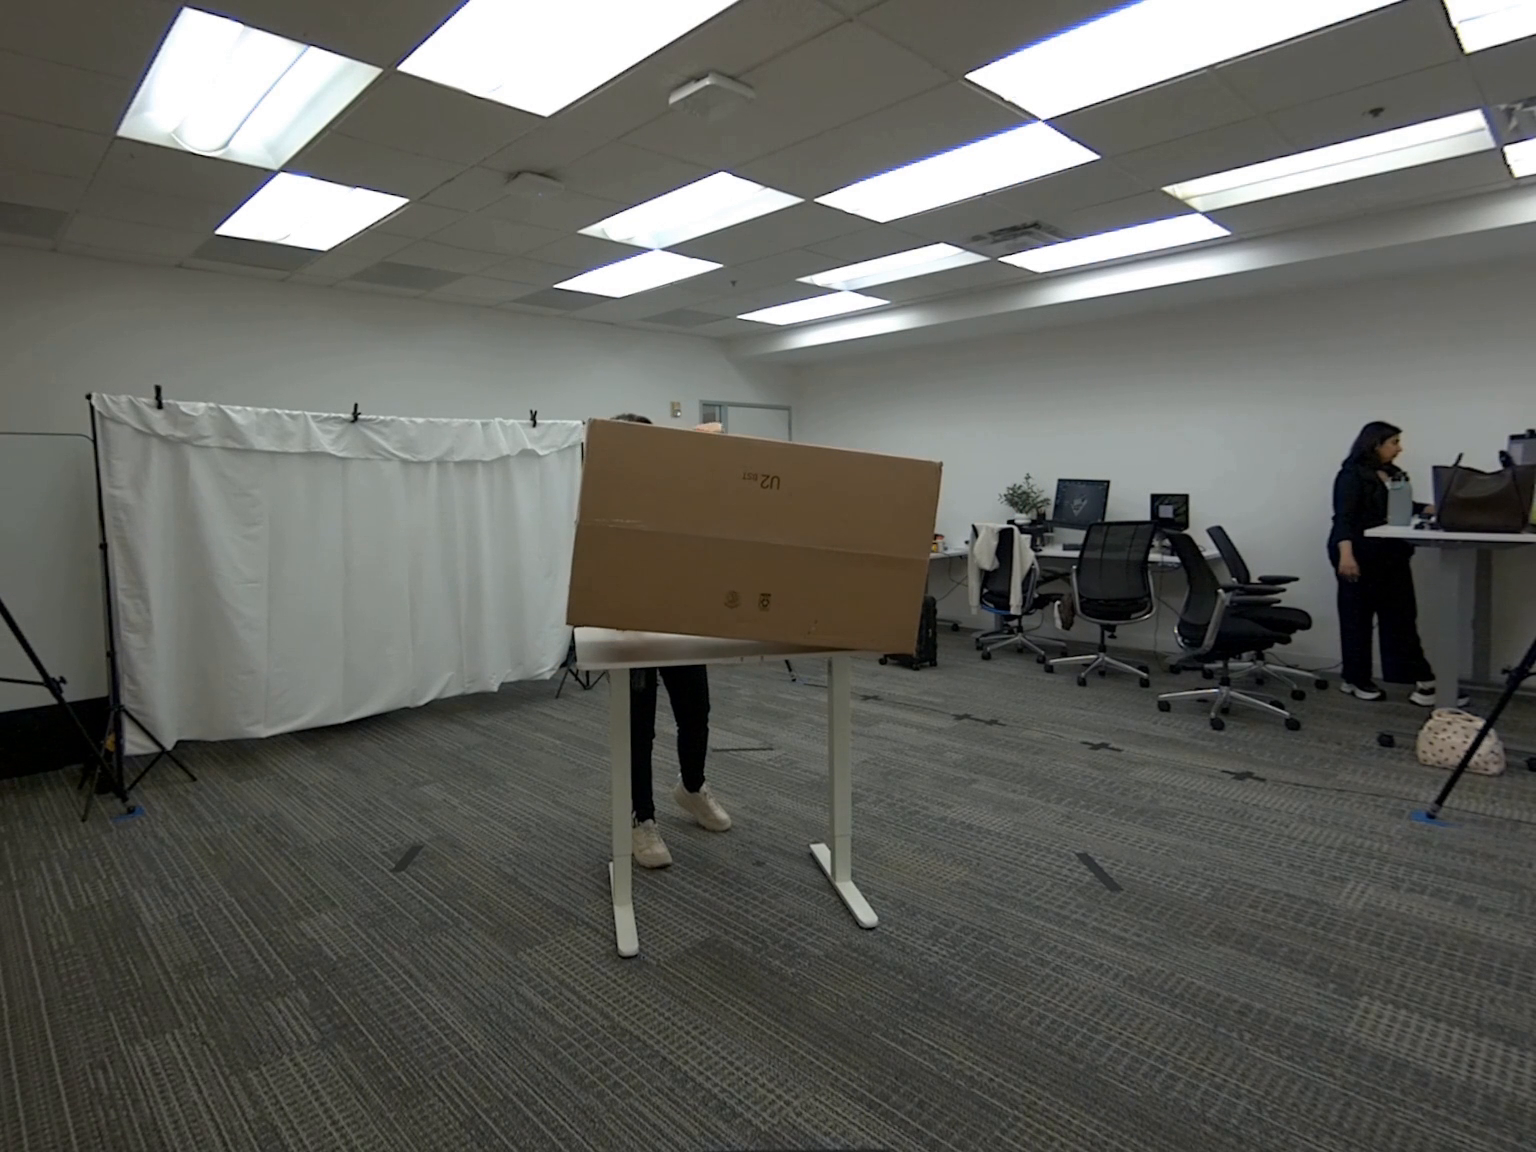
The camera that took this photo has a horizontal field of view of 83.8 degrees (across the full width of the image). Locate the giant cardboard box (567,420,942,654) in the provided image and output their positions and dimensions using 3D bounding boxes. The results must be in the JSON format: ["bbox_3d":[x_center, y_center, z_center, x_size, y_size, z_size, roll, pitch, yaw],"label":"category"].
[{"bbox_3d":[-0.072,-0.123,2.622,1.019,0.581,0.453,5,7,-8],"label":"giant cardboard box"}]
